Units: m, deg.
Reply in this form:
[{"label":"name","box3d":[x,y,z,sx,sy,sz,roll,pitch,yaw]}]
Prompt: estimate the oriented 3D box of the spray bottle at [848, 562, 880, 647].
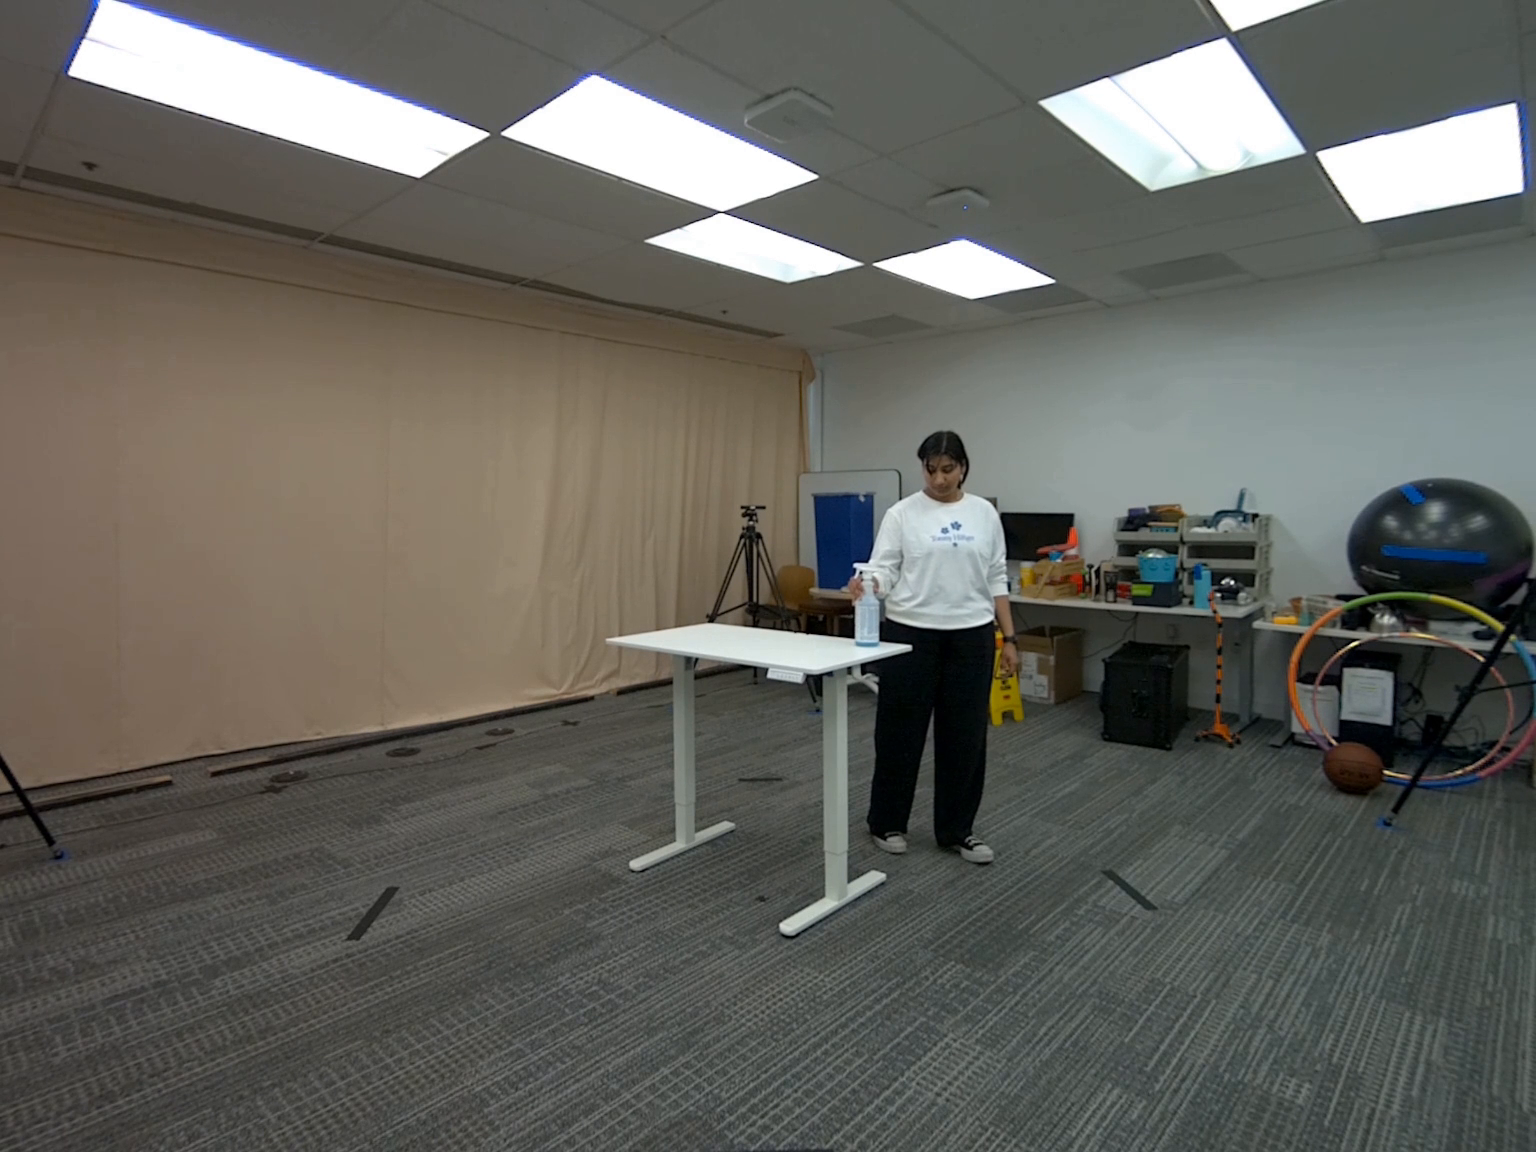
[{"label":"spray bottle","box3d":[0.361,0.105,3.046,0.091,0.297,0.086,1,0,11]}]
